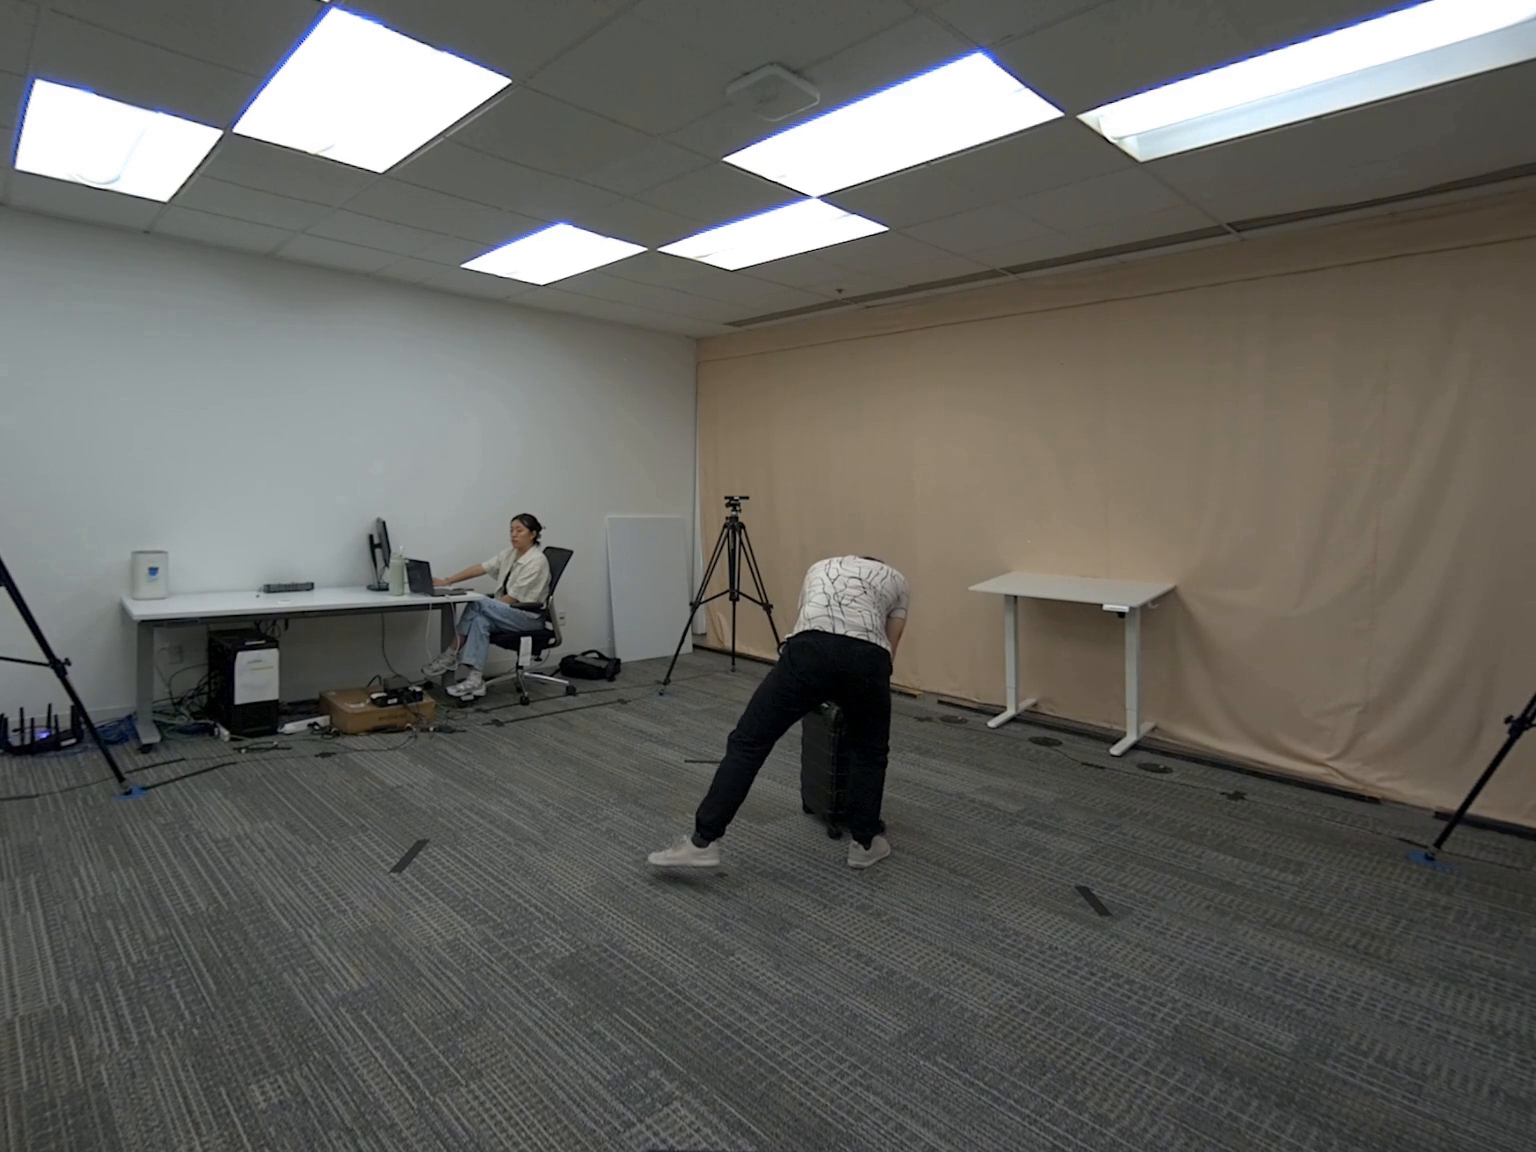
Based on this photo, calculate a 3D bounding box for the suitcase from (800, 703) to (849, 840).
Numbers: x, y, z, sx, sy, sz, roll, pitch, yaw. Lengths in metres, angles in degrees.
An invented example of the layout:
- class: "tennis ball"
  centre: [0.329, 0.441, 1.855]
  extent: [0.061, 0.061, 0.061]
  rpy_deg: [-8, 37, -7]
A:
- class: "suitcase"
  centre: [0.303, 0.793, 3.663]
  extent: [0.245, 0.549, 0.381]
  rpy_deg: [0, 2, -20]
